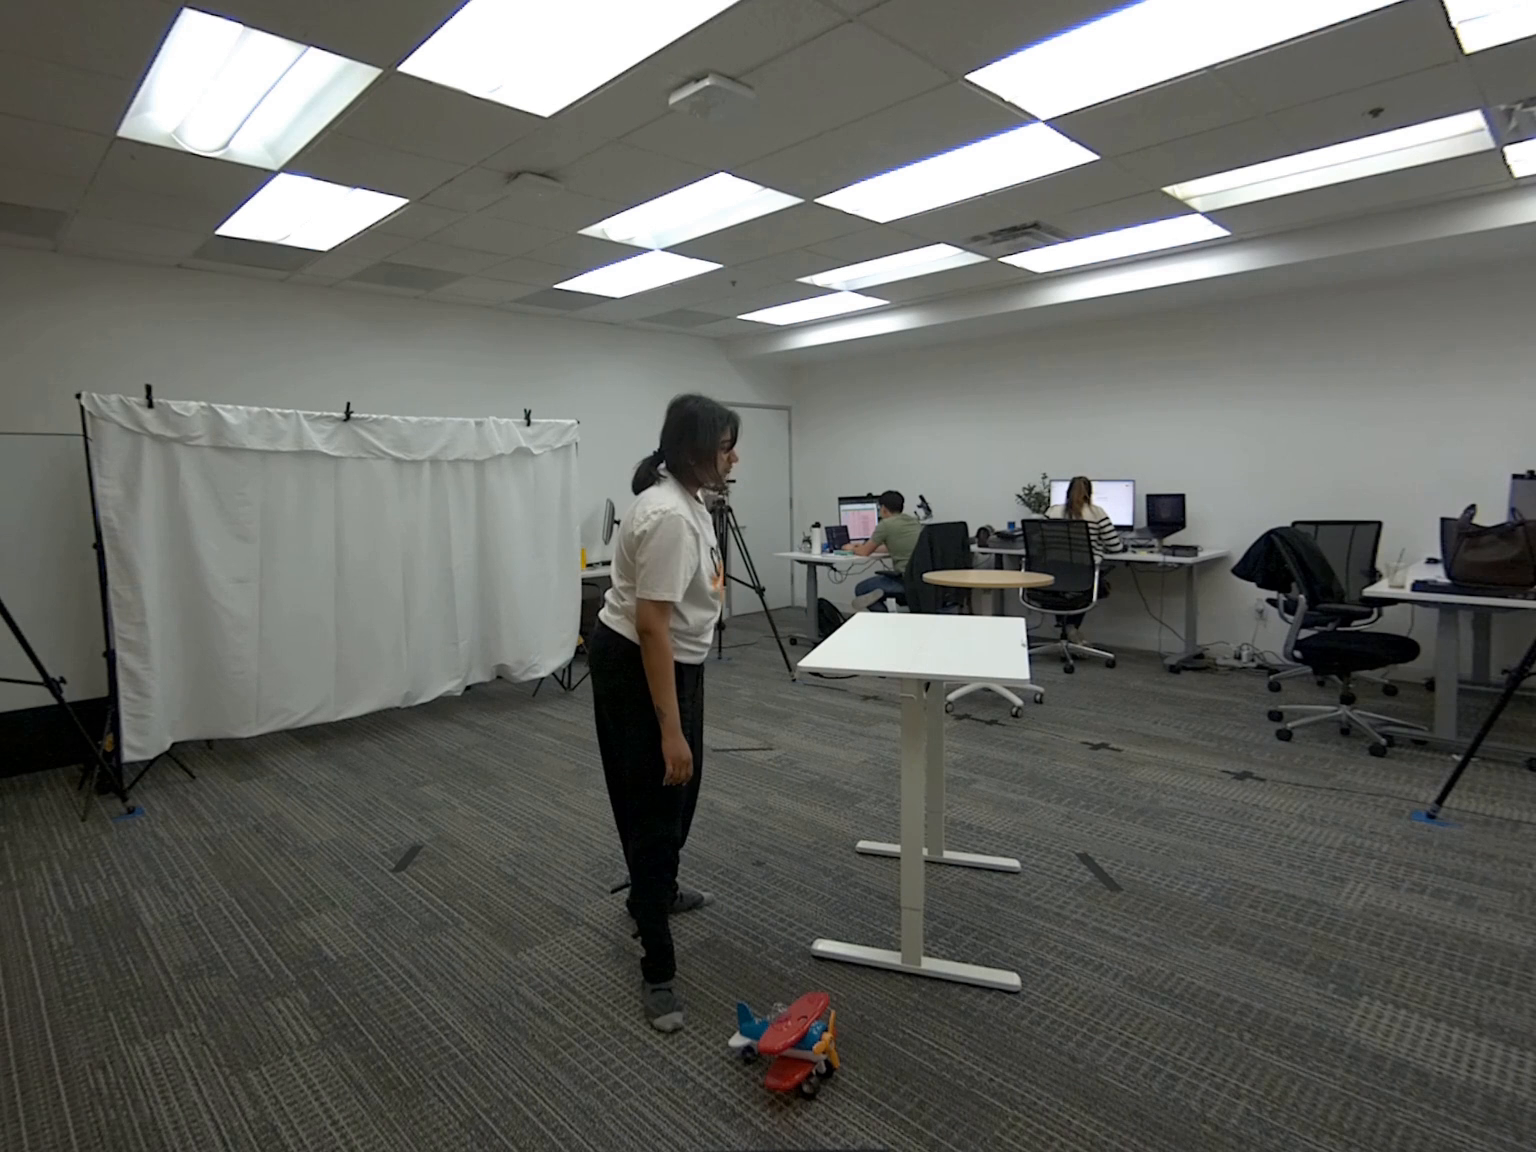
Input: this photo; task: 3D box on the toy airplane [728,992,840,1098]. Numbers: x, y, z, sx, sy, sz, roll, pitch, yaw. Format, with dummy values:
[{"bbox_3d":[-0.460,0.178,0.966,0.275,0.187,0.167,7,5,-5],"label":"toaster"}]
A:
[{"bbox_3d":[0.044,1.104,1.991,0.261,0.155,0.251,0,7,6],"label":"toy airplane"}]
